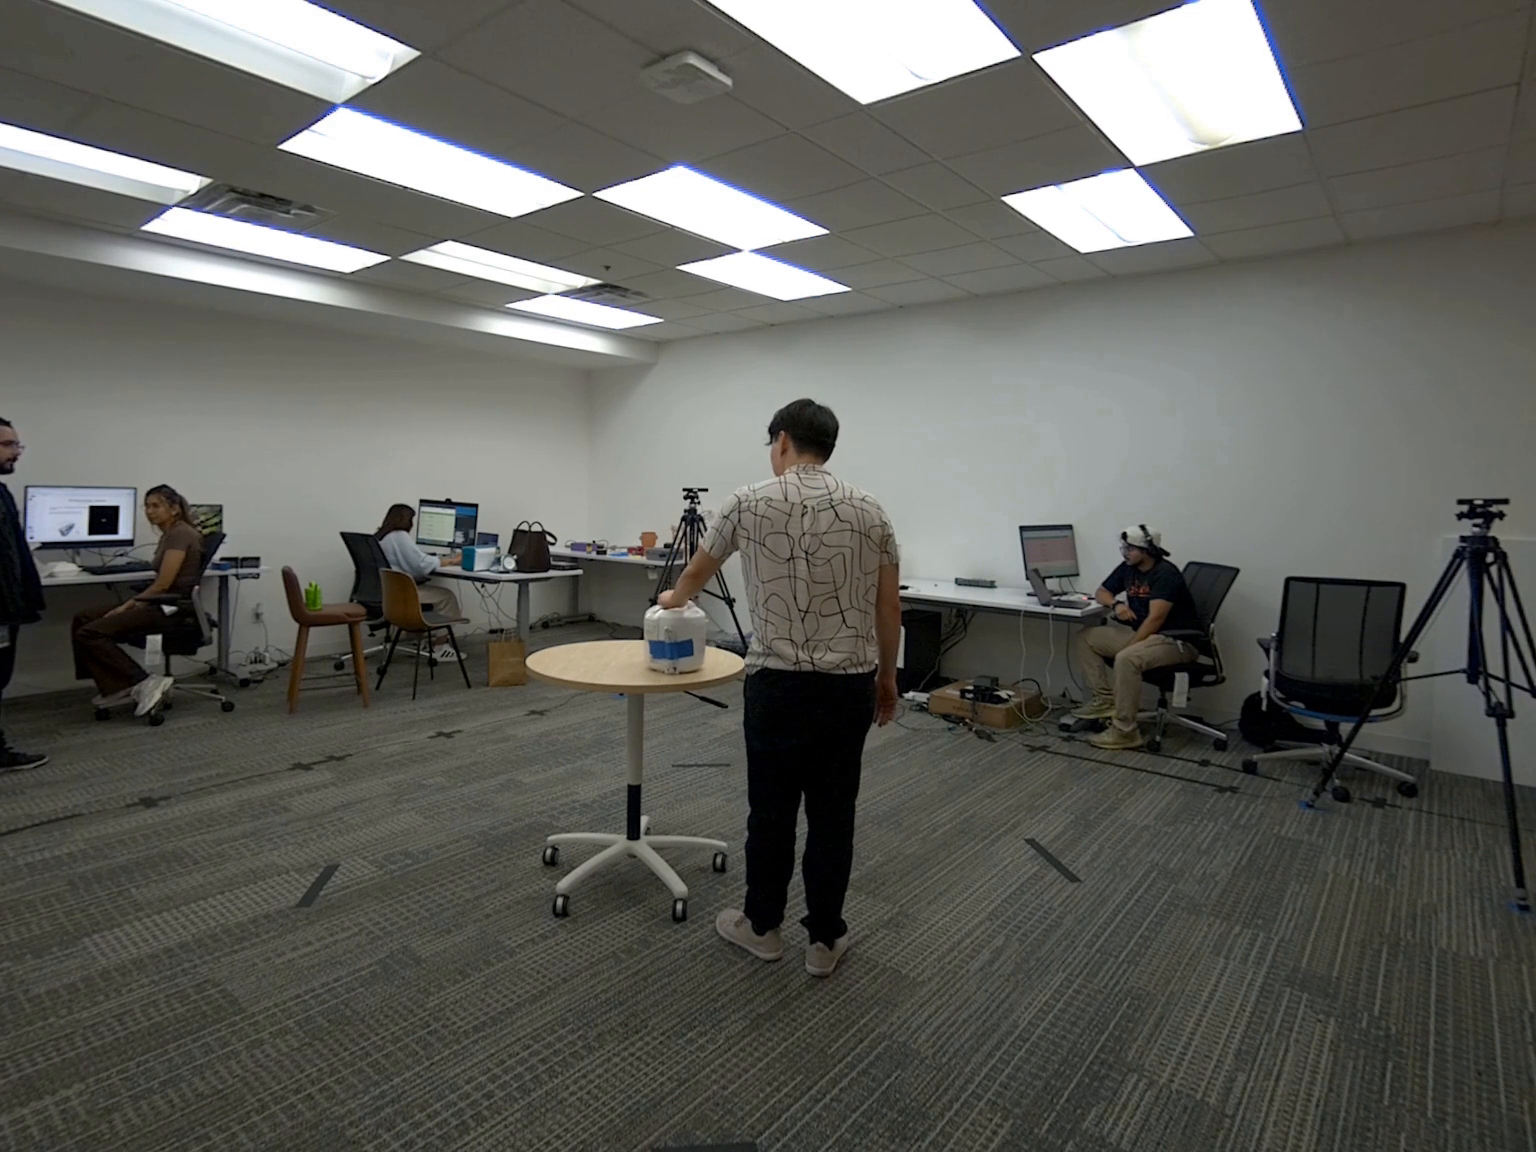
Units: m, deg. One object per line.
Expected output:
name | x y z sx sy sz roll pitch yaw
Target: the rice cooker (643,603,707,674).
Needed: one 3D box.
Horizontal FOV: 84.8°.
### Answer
rice cooker | -0.324 0.195 2.872 0.214 0.232 0.225 -1 6 -42
